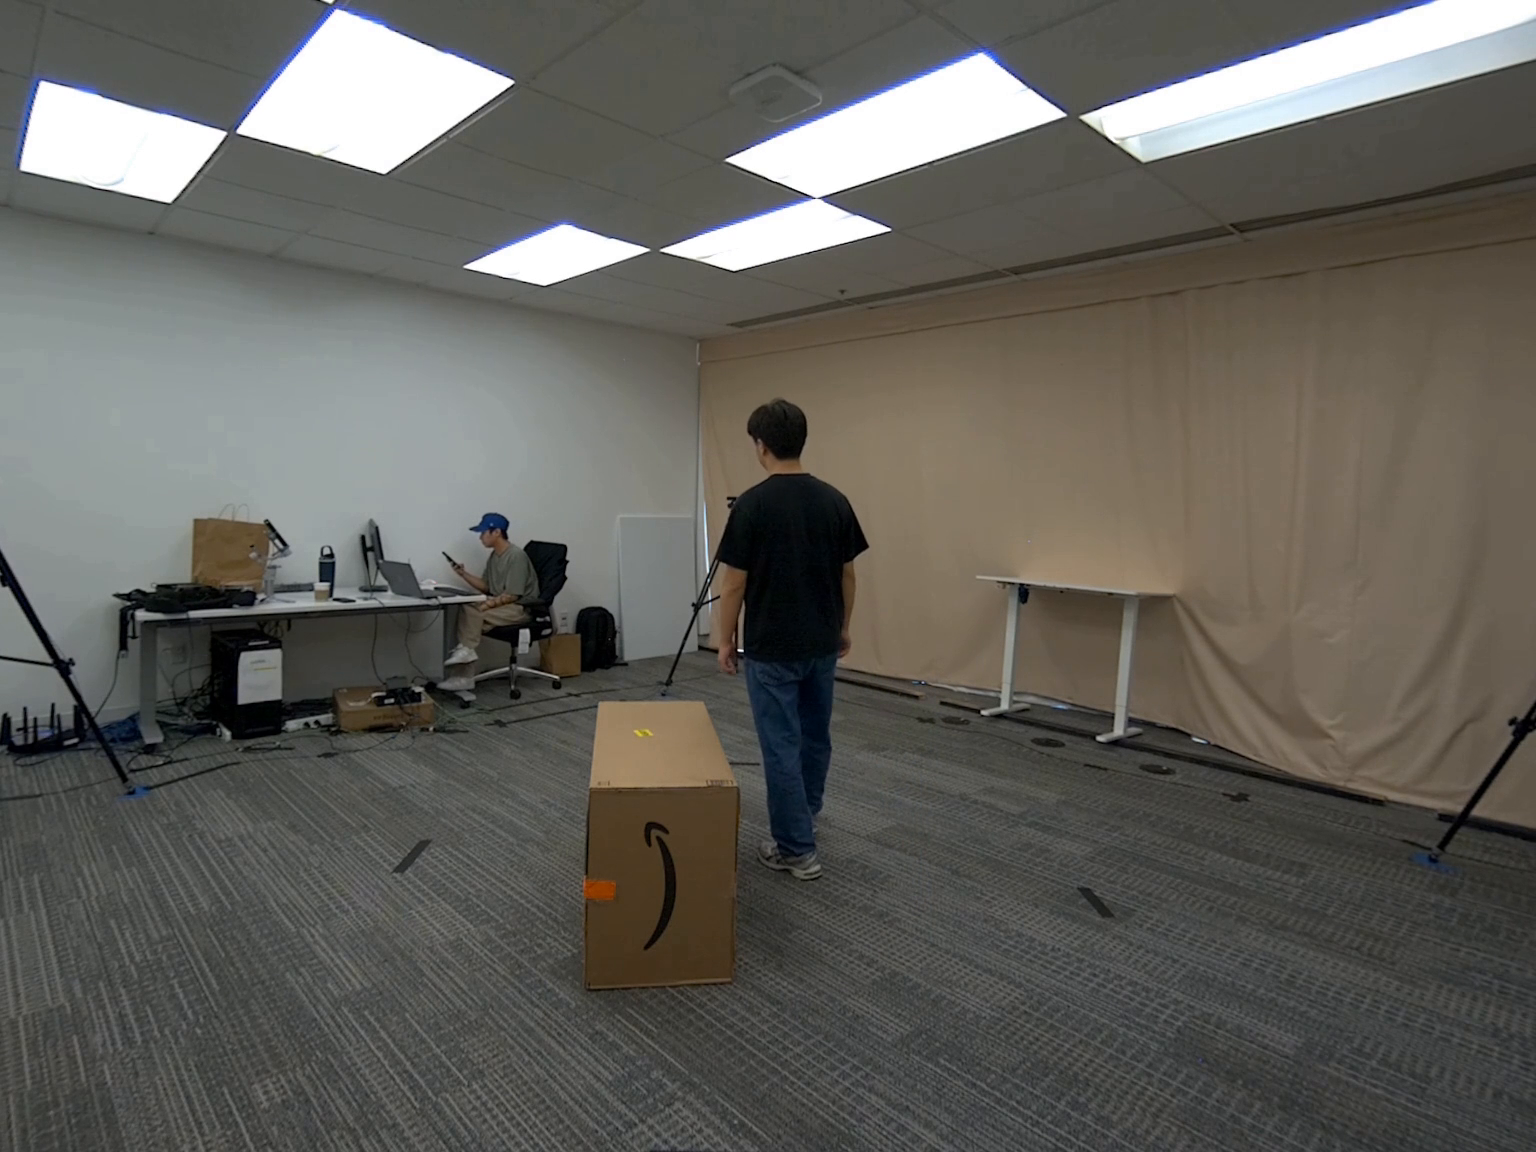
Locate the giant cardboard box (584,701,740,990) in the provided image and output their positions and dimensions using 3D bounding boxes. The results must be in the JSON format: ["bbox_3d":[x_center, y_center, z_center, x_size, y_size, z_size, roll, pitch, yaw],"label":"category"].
[{"bbox_3d":[-0.394,0.836,2.874,0.443,0.582,1.037,0,4,-10],"label":"giant cardboard box"}]
